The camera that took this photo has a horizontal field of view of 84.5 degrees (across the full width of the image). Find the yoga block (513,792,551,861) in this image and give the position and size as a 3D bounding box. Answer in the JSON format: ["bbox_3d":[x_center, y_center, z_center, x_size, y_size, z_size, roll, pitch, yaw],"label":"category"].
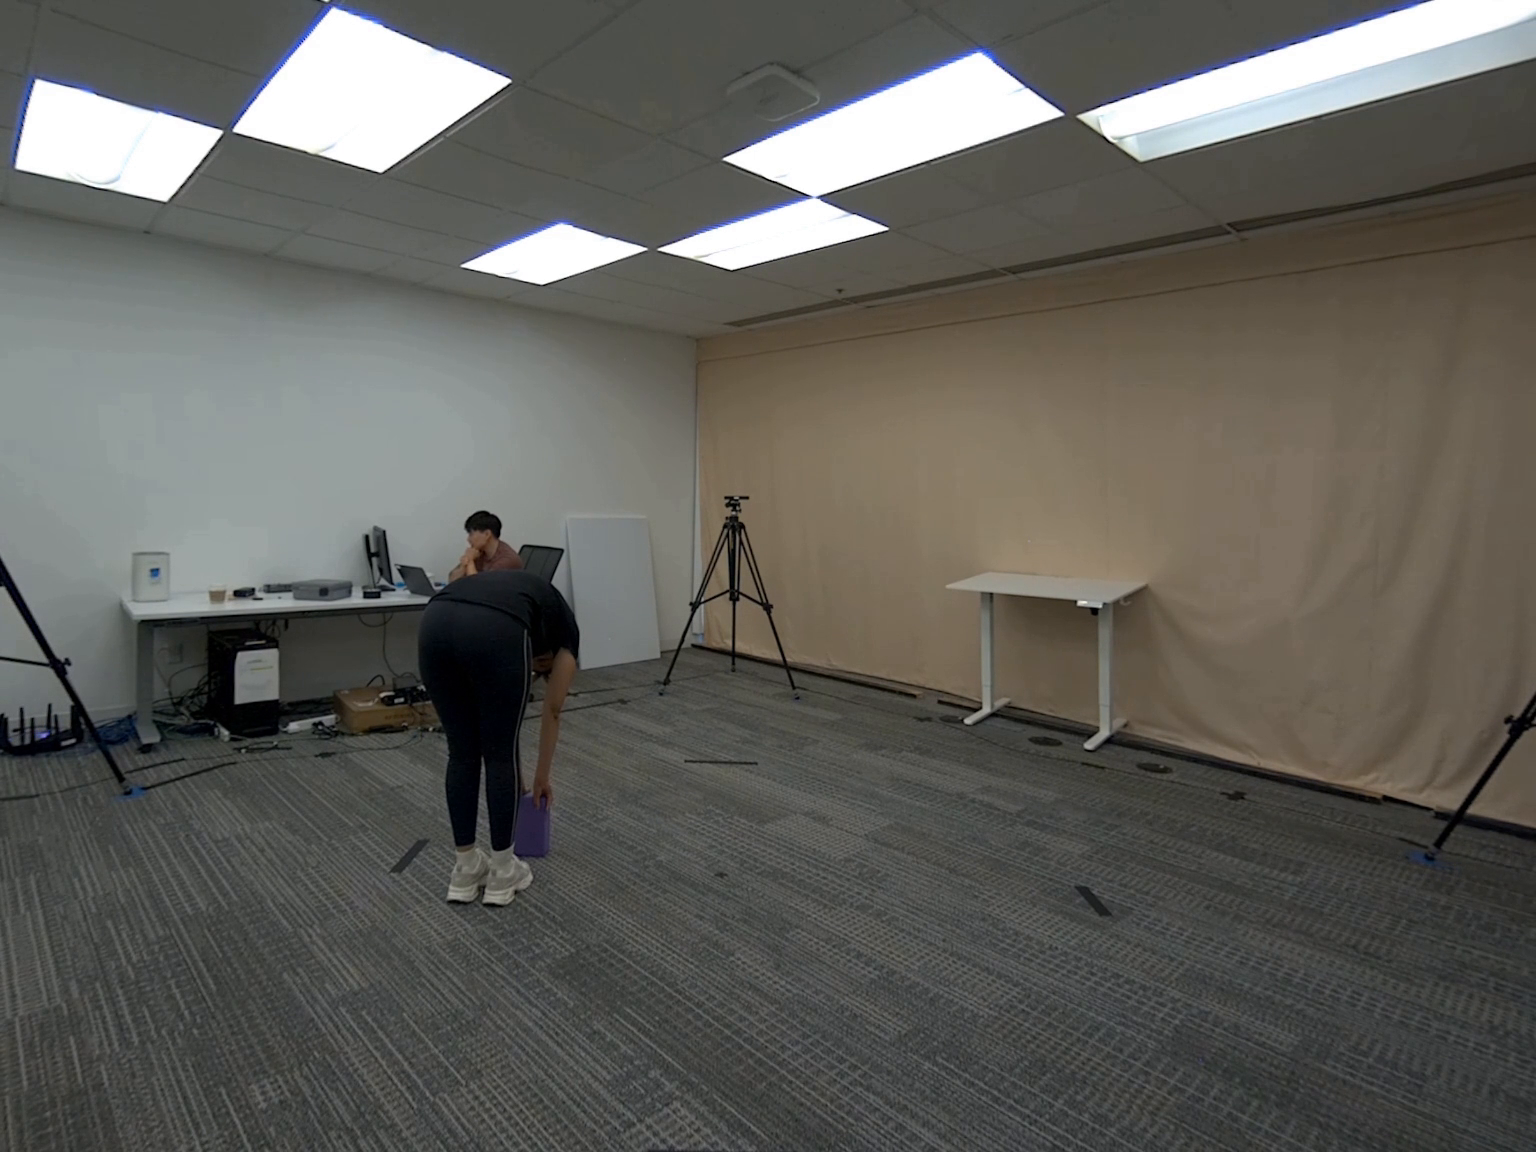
[{"bbox_3d":[-0.929,0.966,3.255,0.150,0.229,0.076,3,4,5],"label":"yoga block"}]
